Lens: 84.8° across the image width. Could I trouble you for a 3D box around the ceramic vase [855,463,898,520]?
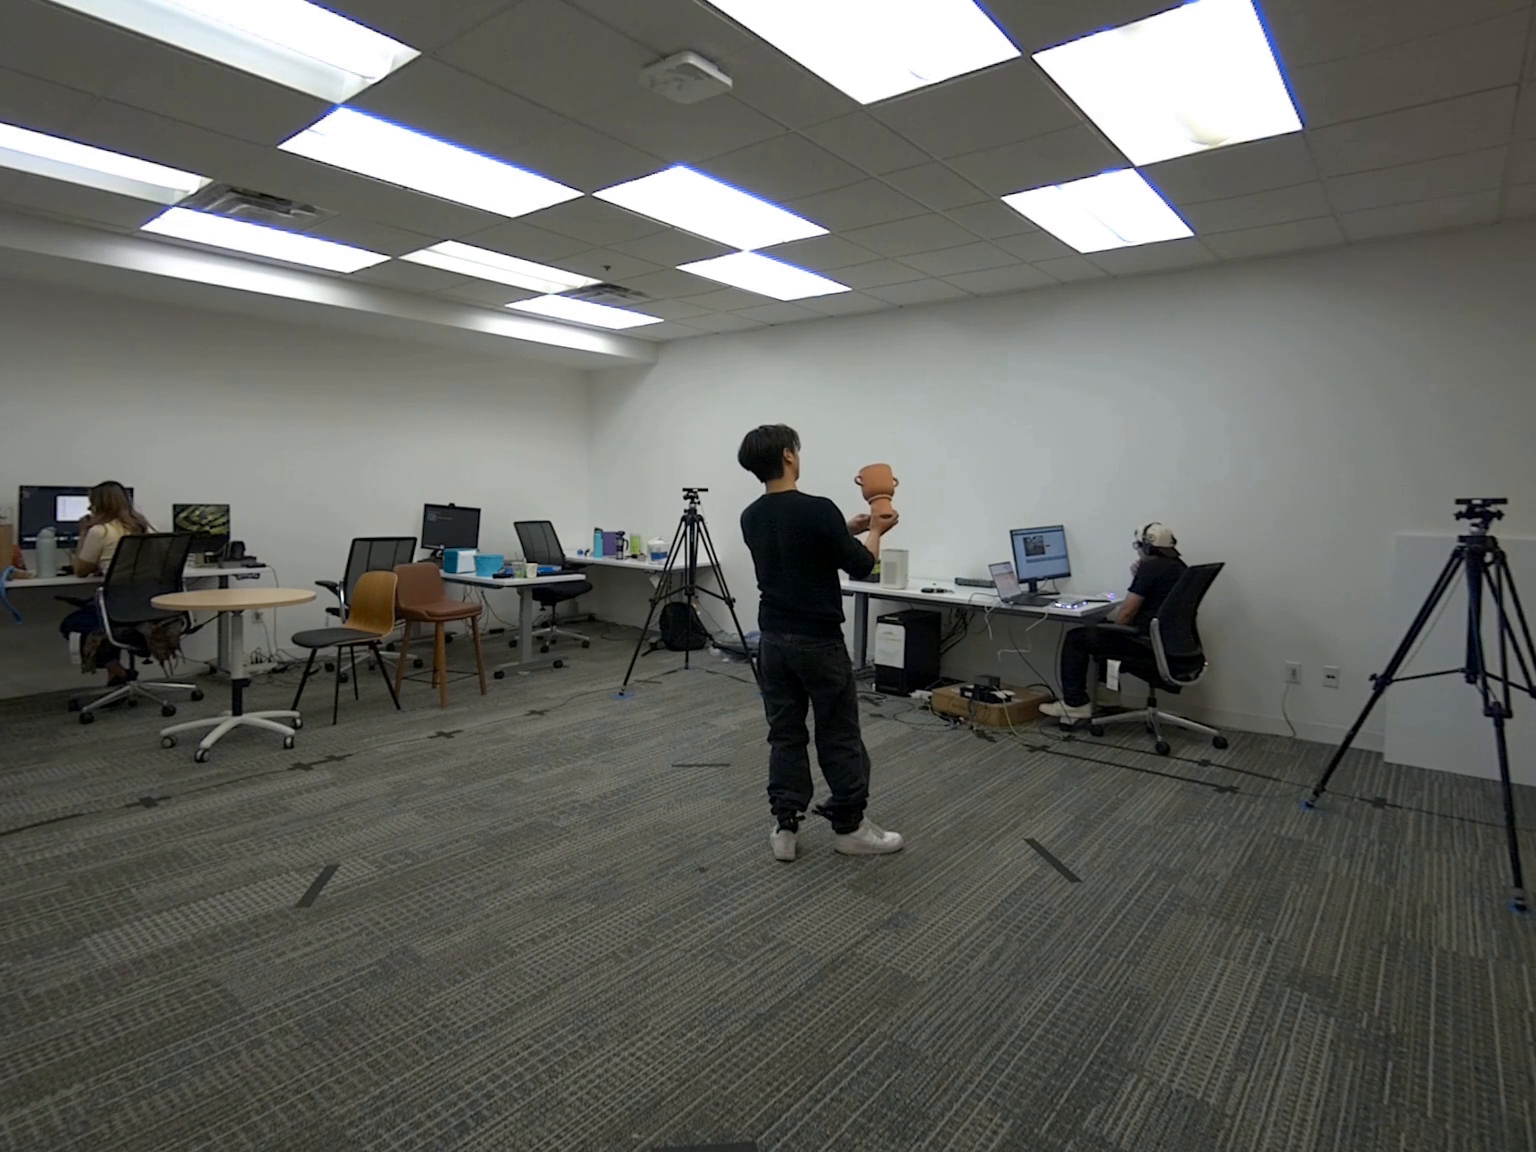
[{"bbox_3d":[0.448,-0.335,3.473,0.161,0.224,0.130,-13,-22,19],"label":"ceramic vase"}]
